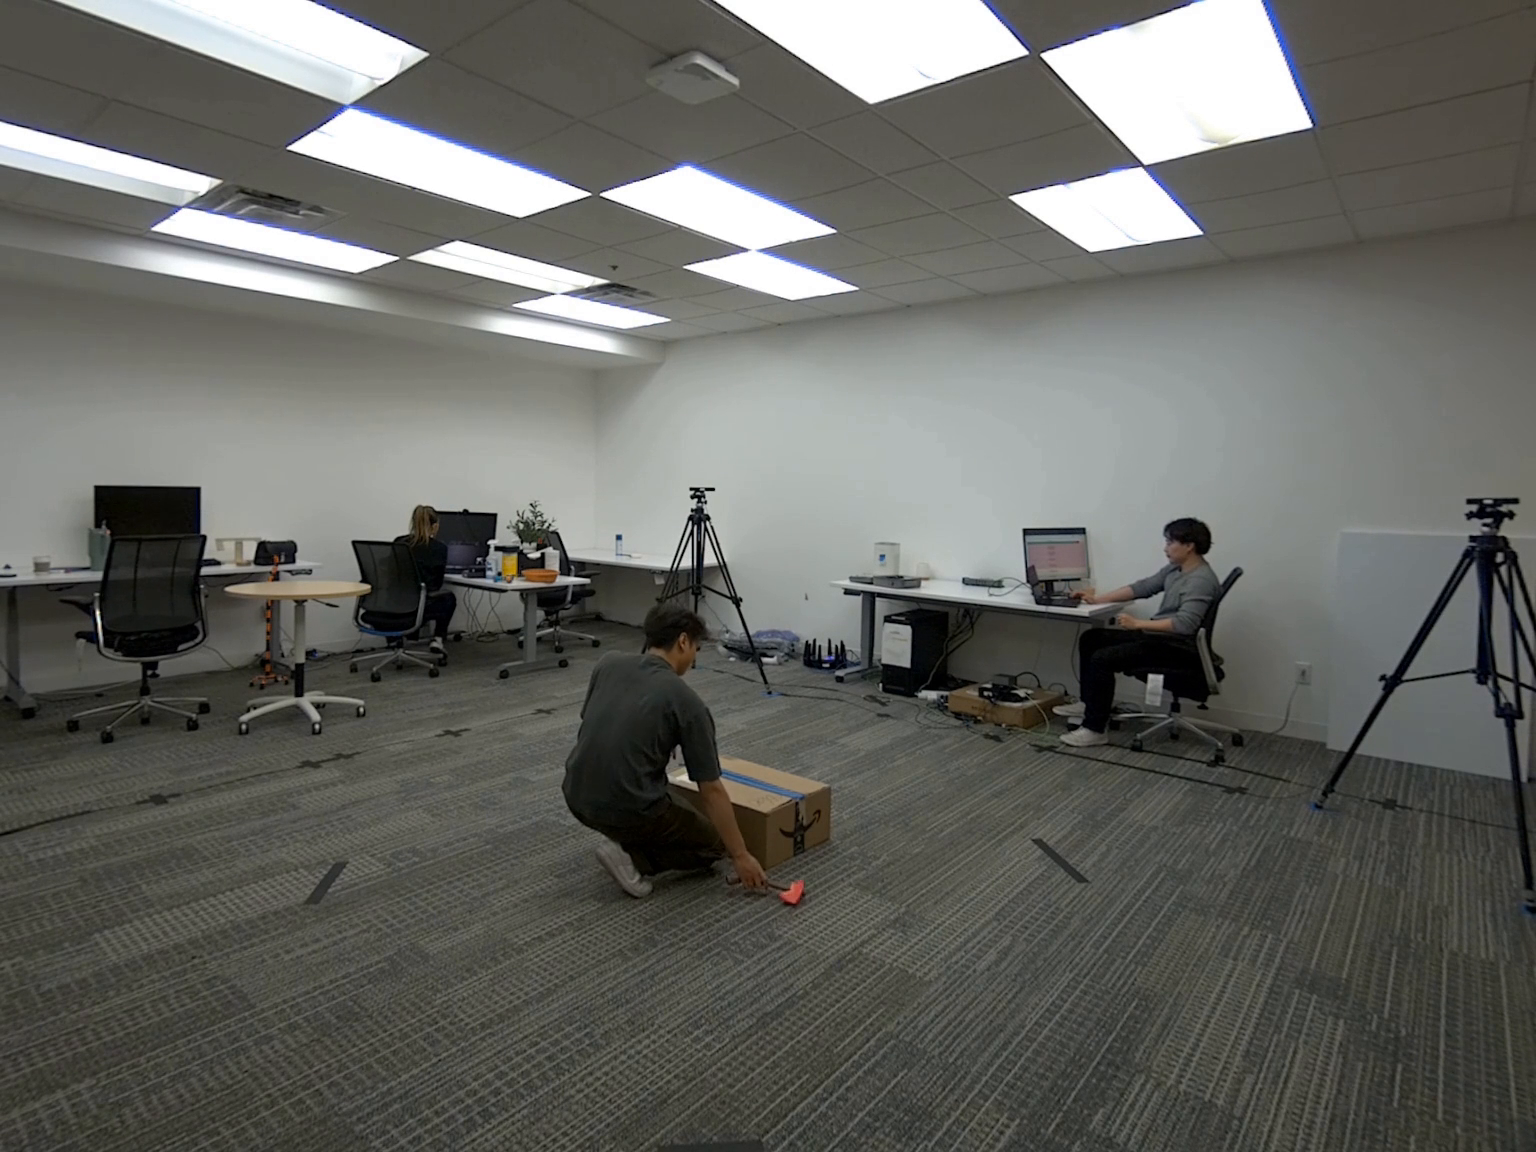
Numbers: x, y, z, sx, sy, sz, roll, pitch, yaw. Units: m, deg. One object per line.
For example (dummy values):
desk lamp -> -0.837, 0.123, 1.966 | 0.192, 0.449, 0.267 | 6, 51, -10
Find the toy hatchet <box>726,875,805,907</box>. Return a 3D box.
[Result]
toy hatchet -> -0.015, 1.066, 2.886 | 0.270, 0.029, 0.133 | 1, 20, 0
